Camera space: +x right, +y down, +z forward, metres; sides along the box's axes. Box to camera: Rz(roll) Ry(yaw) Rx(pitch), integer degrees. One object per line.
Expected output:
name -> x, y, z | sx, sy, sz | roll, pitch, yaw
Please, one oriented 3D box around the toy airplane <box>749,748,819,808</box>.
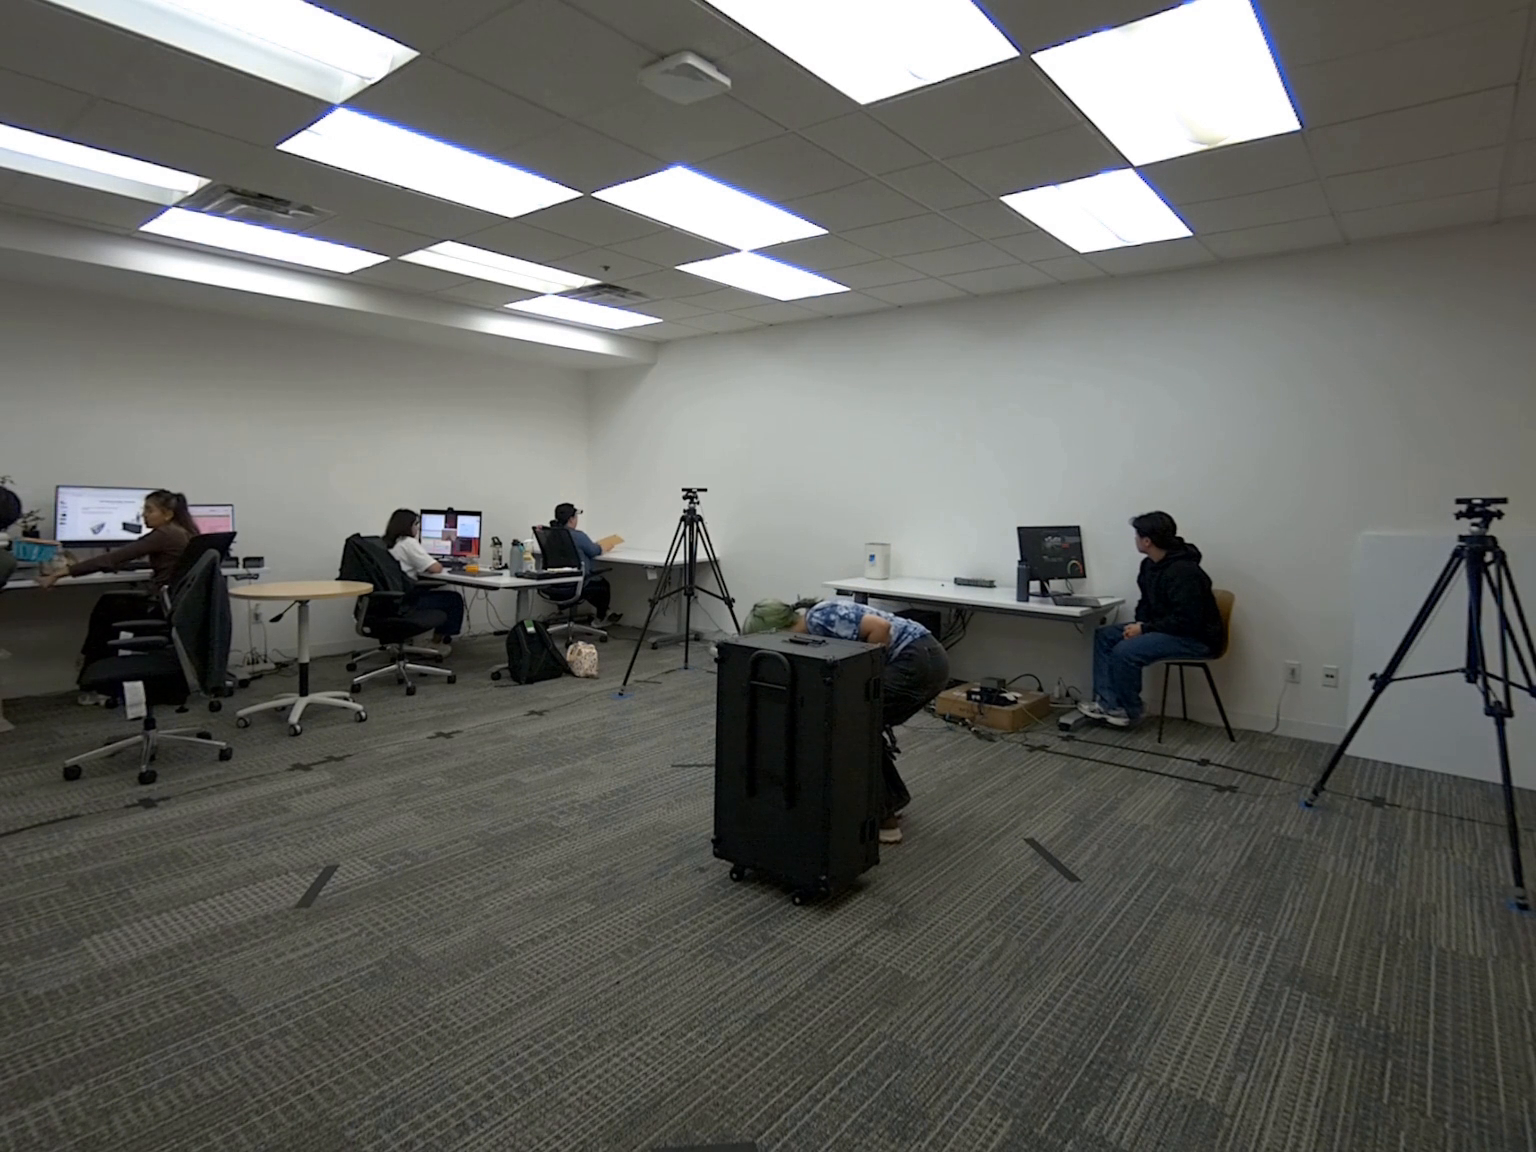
toy airplane -> 0.064, 0.911, 3.816 | 0.248, 0.155, 0.264 | -1, 8, -13
